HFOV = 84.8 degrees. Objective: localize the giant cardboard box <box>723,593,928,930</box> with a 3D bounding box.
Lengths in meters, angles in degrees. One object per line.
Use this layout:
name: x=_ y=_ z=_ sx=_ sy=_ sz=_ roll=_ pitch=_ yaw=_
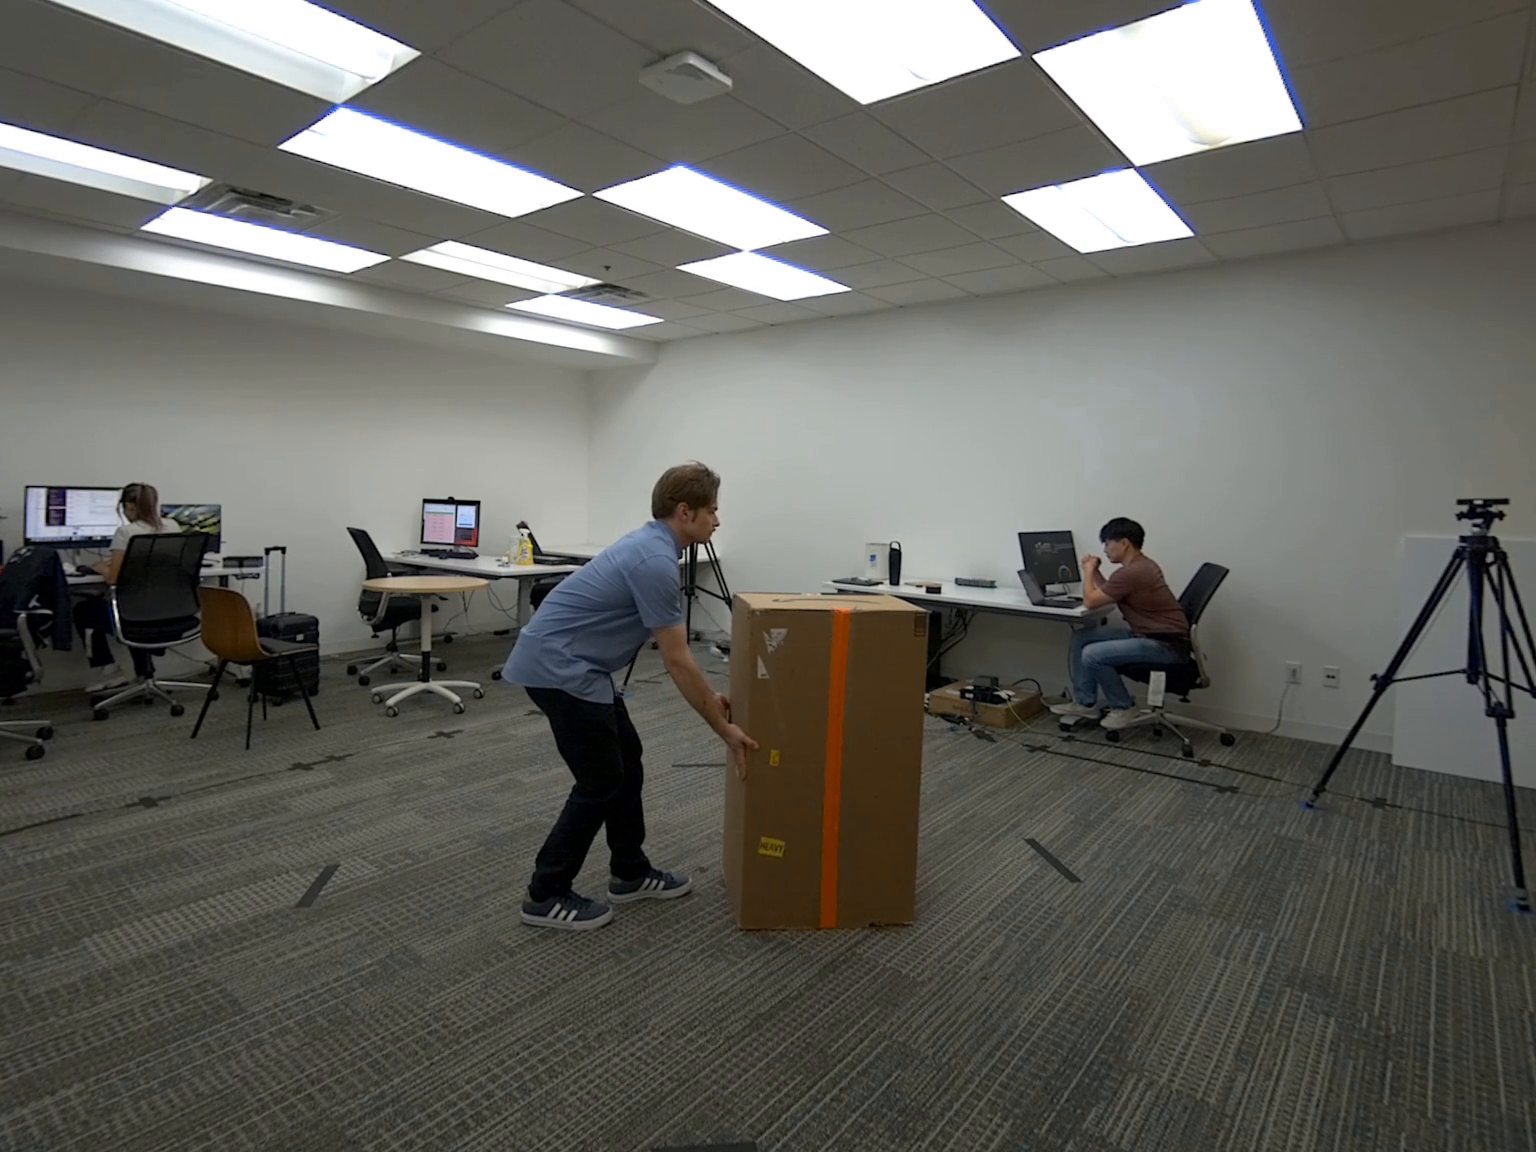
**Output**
giant cardboard box: x=0.164 y=0.592 z=2.885 sx=0.572 sy=1.023 sz=0.431 roll=1 pitch=3 yaw=-9
